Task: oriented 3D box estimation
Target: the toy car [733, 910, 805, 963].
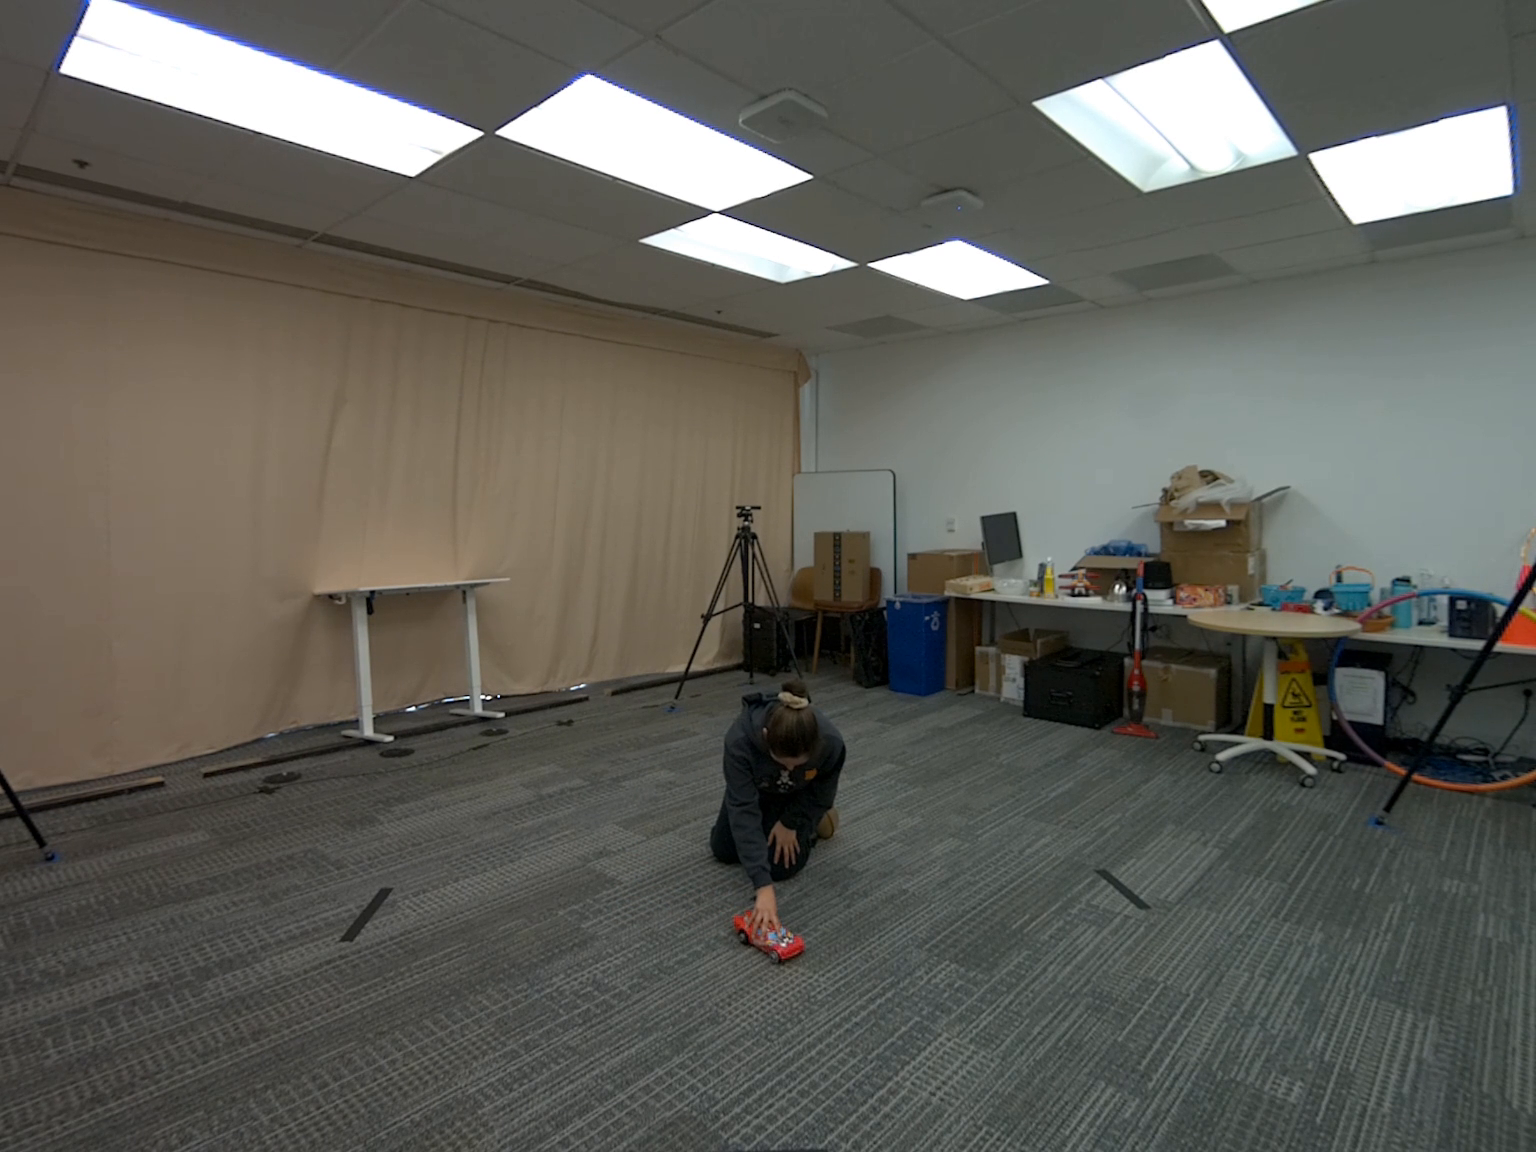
[{"bbox_3d":[0.006,1.133,2.674,0.126,0.082,0.264,-6,17,-40],"label":"toy car"}]
